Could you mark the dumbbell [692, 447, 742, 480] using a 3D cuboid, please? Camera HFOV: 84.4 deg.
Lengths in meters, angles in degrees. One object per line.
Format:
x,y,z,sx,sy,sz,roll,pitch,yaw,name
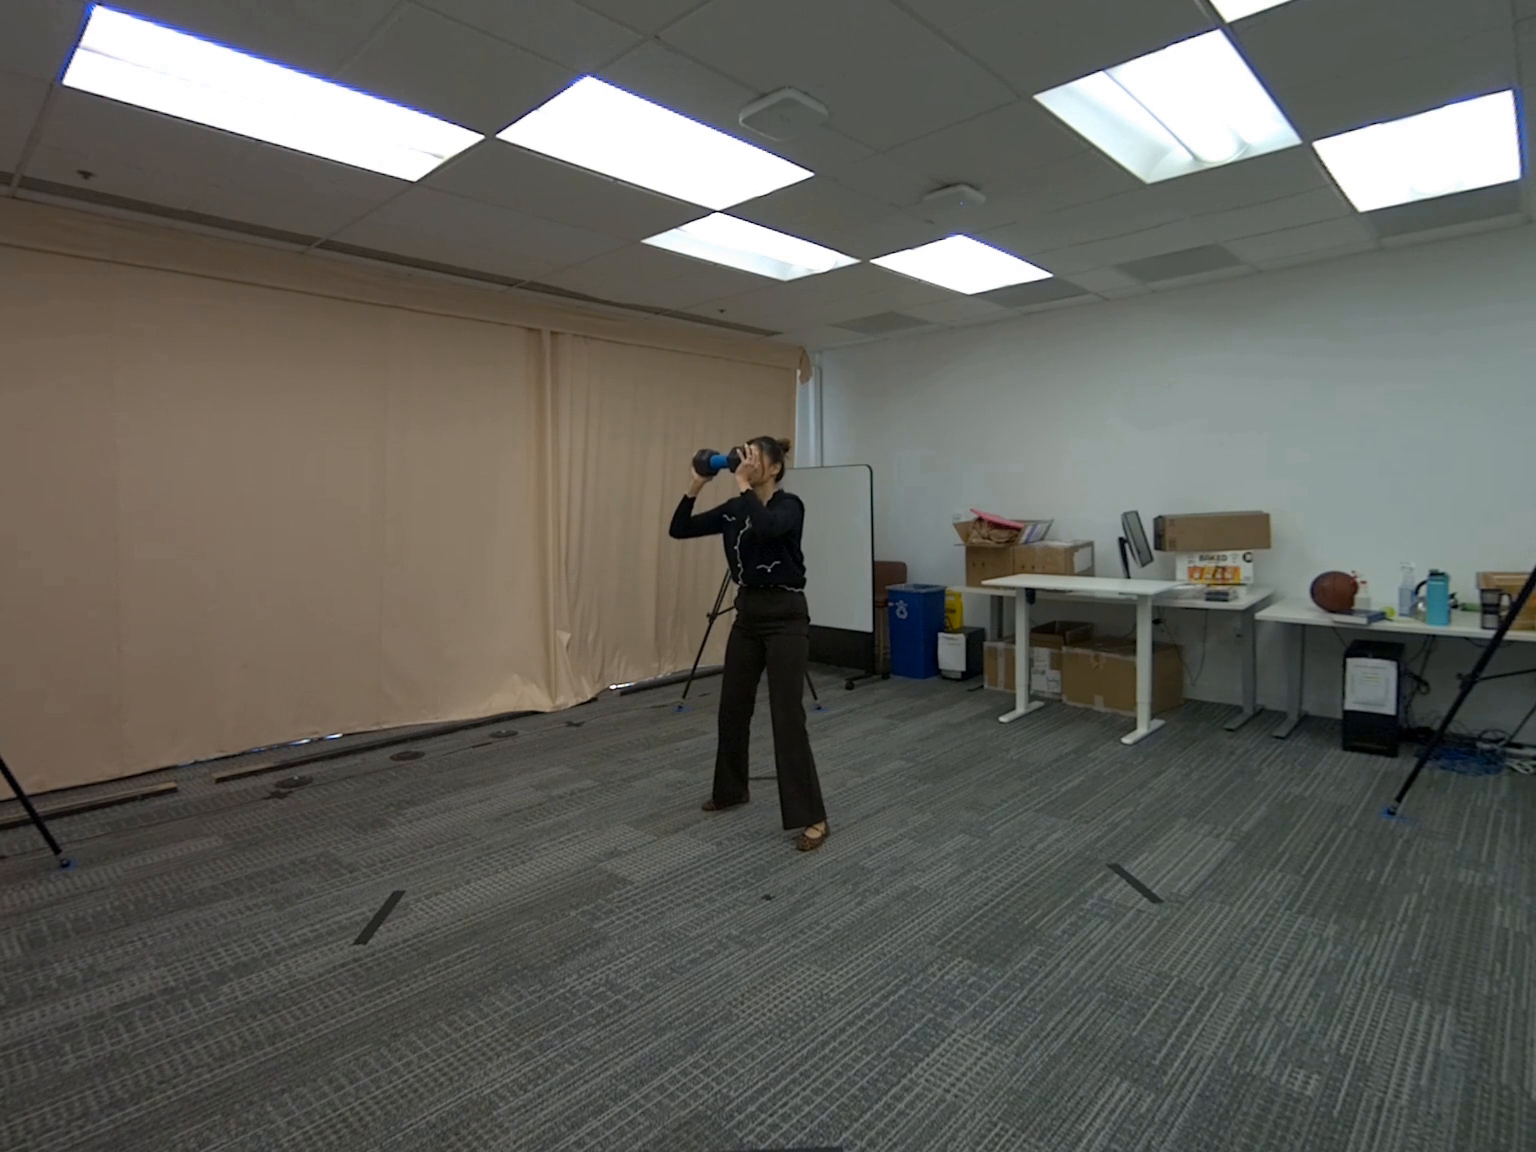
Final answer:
-0.173,-0.473,3.530,0.303,0.123,0.105,5,-36,46,dumbbell
